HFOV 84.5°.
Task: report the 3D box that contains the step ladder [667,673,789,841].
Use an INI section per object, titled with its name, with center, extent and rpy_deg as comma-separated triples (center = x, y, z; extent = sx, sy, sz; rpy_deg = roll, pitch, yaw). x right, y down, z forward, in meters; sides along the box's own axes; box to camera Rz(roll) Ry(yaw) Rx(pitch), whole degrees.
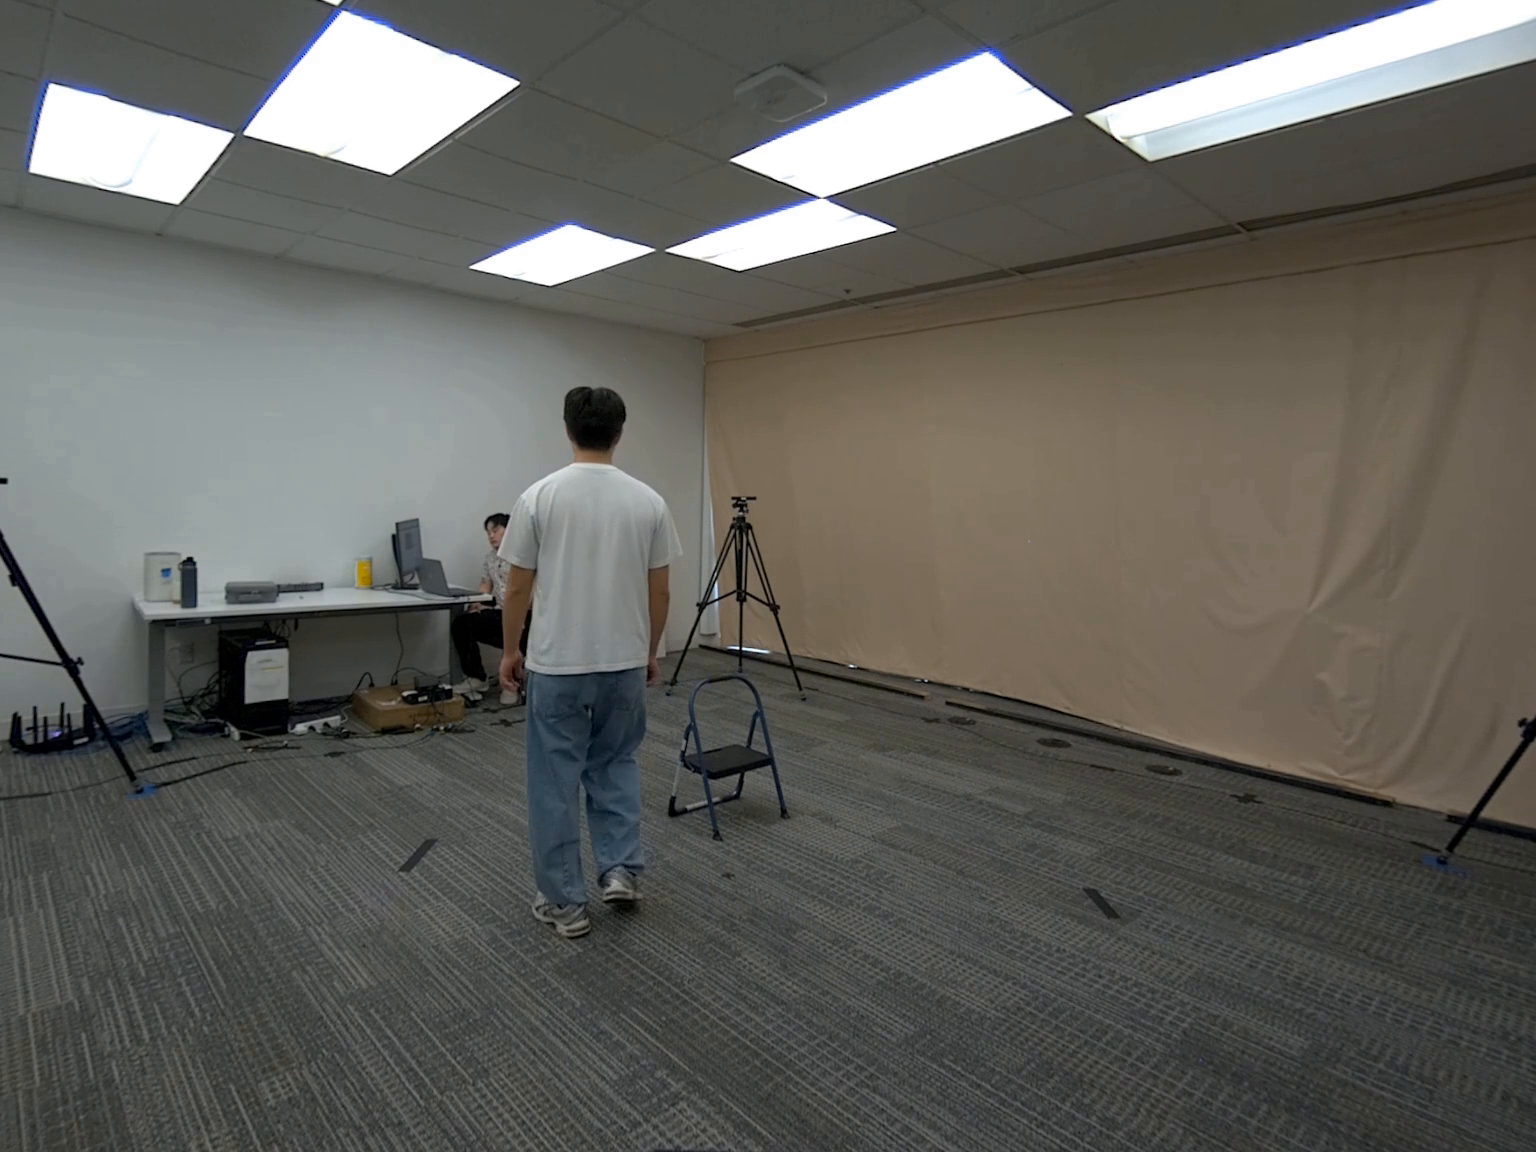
[step ladder]
center = -0.172, 0.750, 3.669
extent = 0.420, 0.604, 0.358
rpy_deg = -1, 5, -44
